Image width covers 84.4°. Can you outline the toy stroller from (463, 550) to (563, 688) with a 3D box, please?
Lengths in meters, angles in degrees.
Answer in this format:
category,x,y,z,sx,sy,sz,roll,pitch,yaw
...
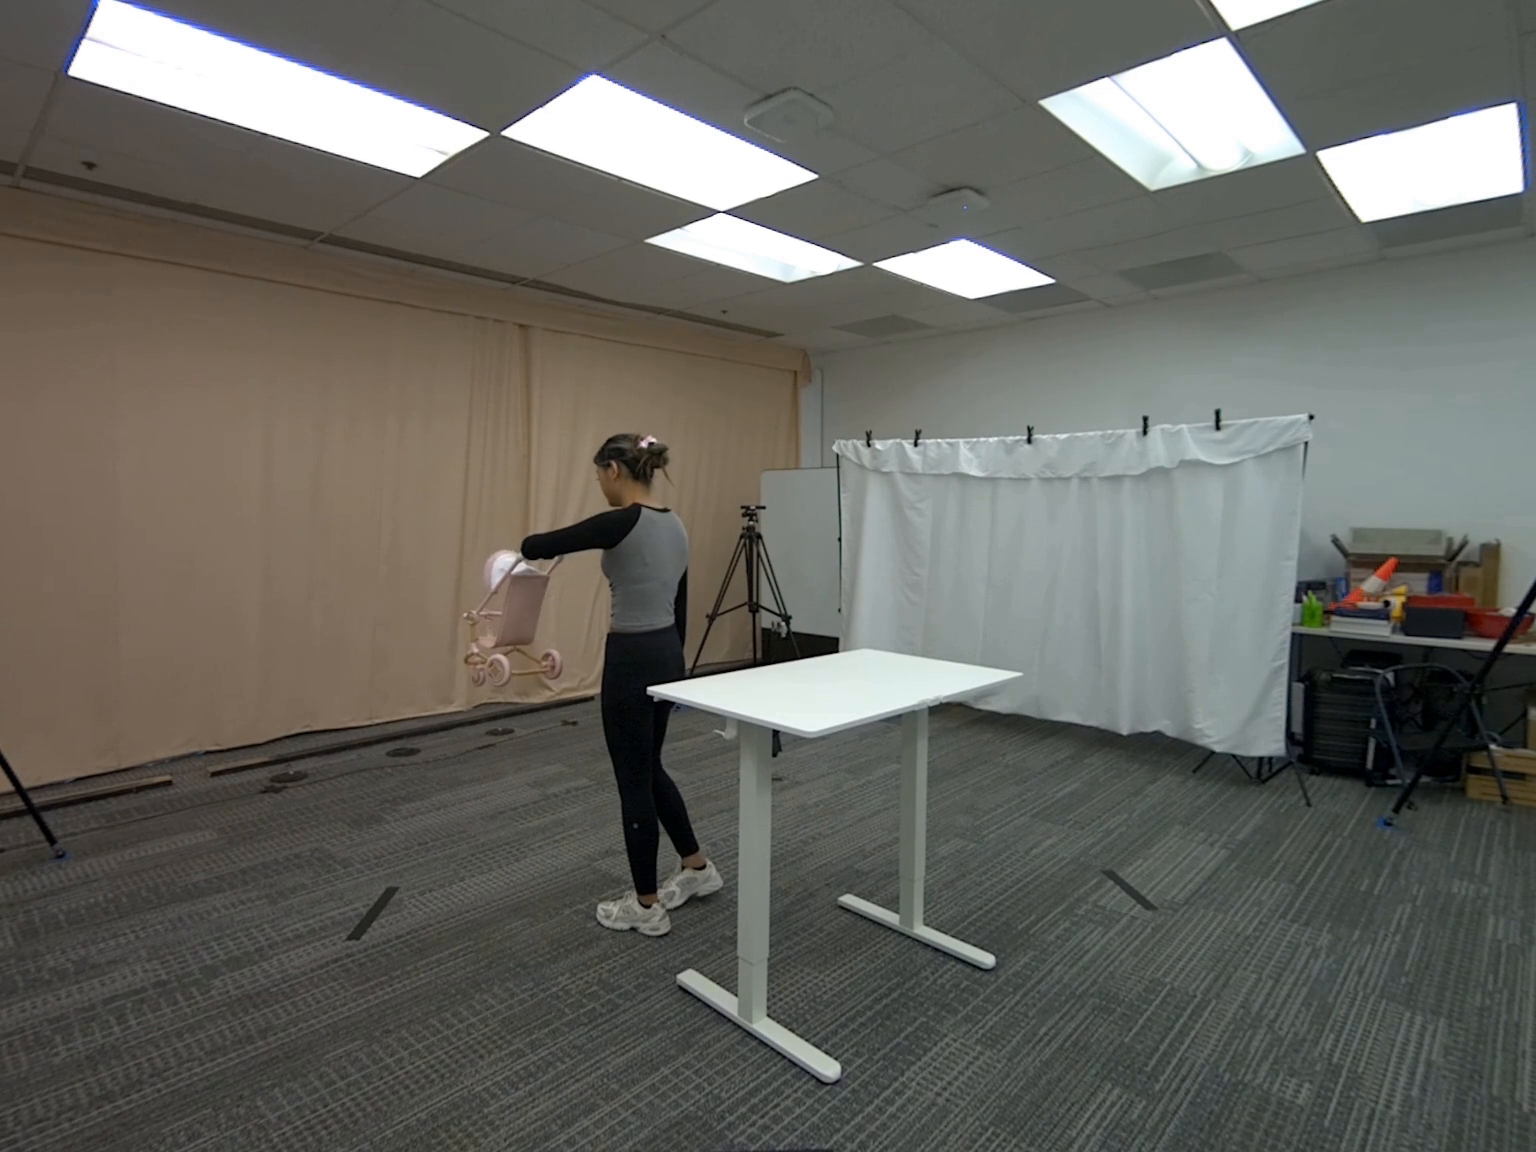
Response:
category,x,y,z,sx,sy,sz,roll,pitch,yaw
toy stroller,-0.900,0.149,2.966,0.352,0.534,0.273,7,2,34
